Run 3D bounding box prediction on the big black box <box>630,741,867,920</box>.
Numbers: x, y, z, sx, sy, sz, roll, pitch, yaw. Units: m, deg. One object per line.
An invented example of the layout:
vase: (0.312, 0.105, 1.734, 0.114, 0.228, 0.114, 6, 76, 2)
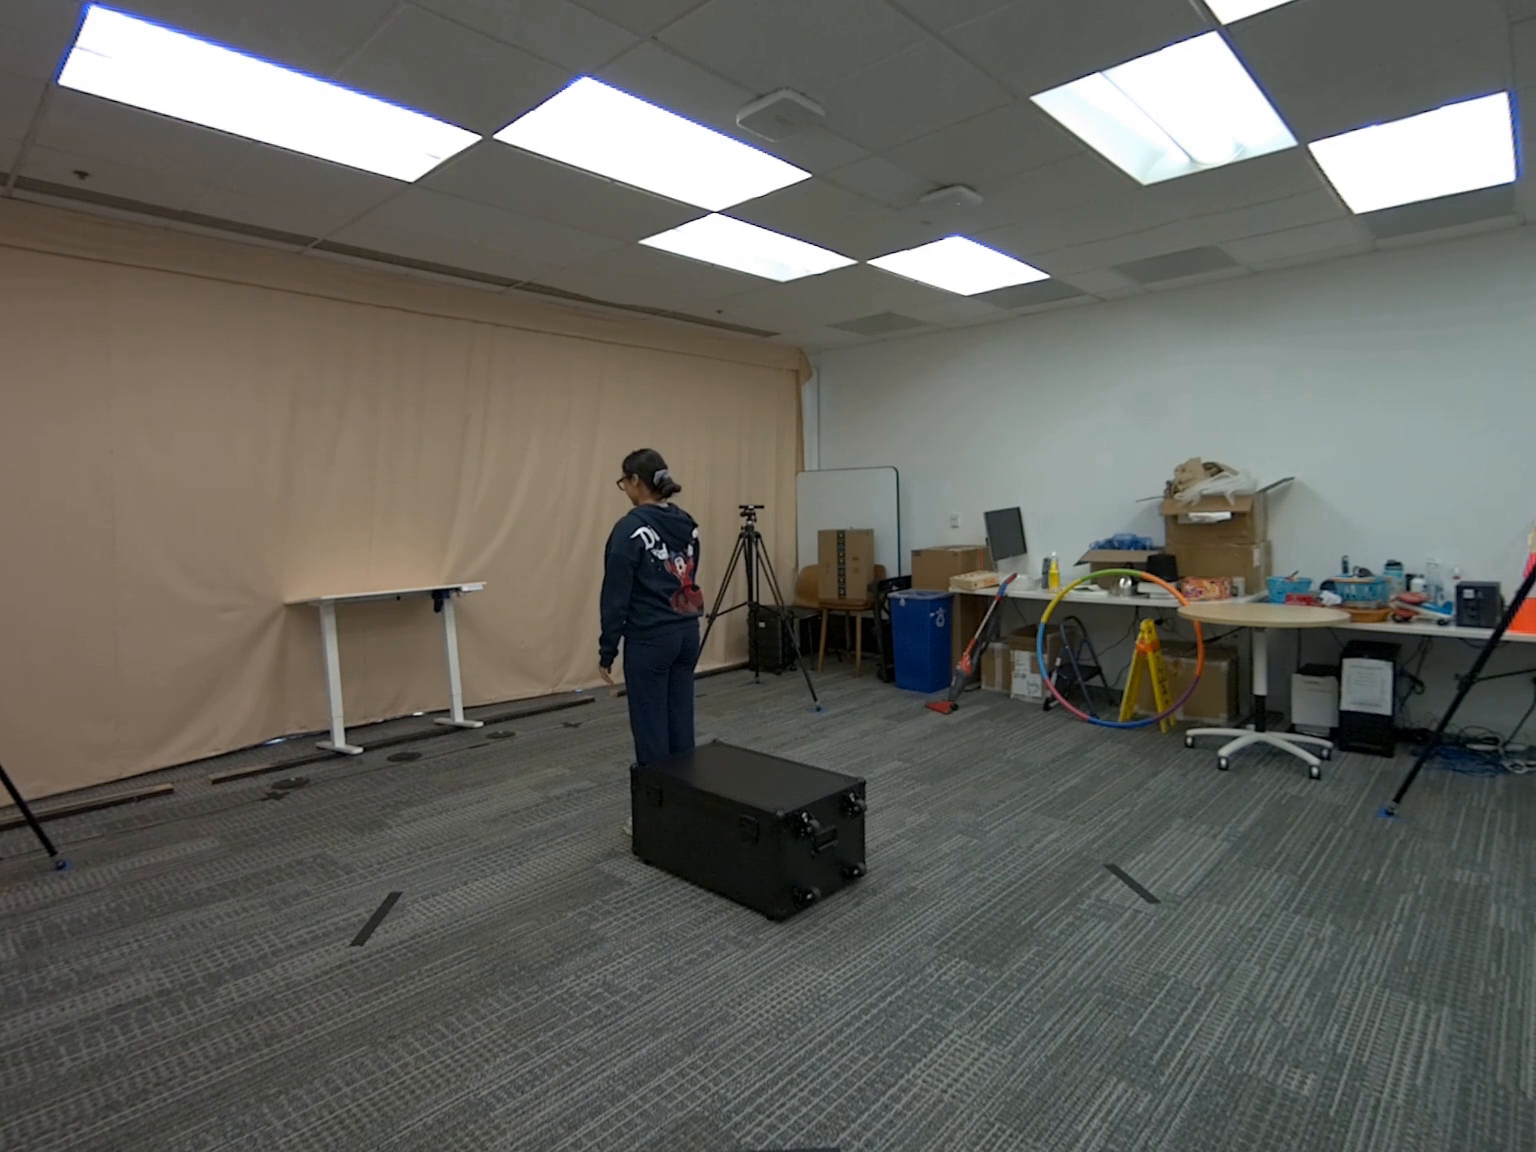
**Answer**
big black box: (-0.063, 0.934, 3.184, 0.890, 0.395, 0.505, 2, 5, 43)
